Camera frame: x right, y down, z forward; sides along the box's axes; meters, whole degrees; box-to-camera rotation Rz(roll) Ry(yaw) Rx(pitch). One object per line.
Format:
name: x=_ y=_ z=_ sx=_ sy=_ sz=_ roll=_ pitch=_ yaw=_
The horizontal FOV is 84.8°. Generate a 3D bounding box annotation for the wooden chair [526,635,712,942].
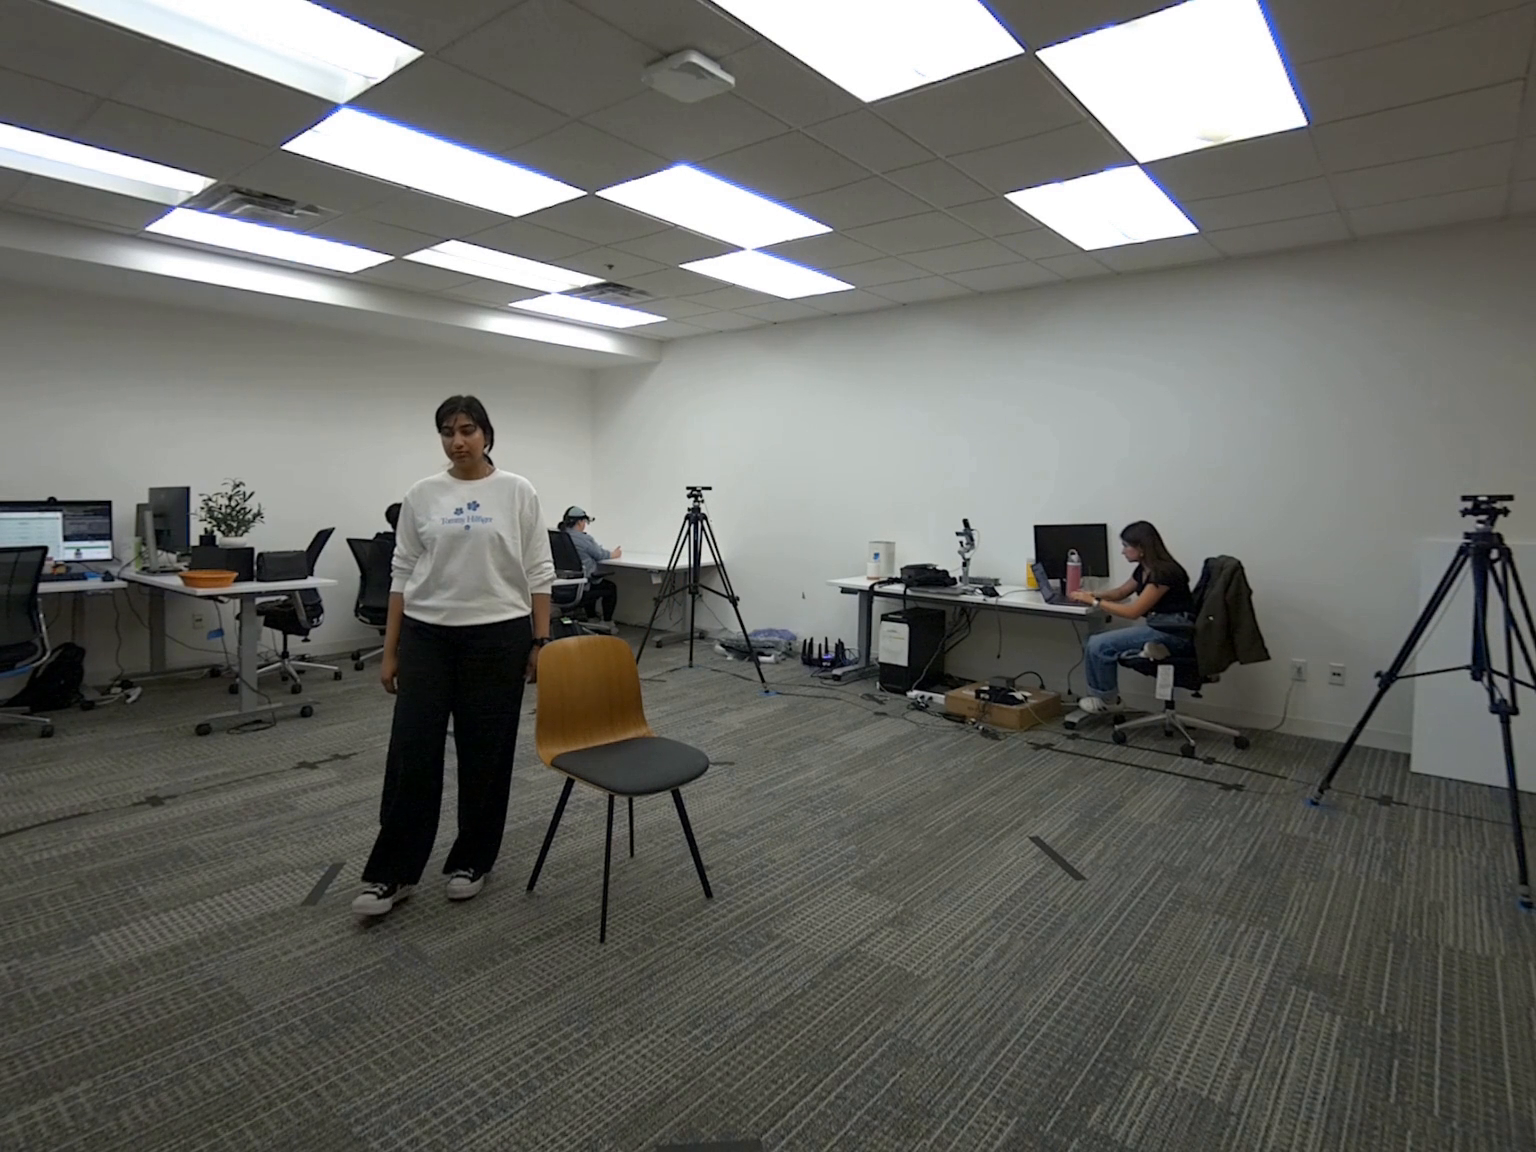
wooden chair: x=-0.493 y=0.661 z=2.862 sx=0.463 sy=0.878 sz=0.539 roll=-2 pitch=0 yaw=-43
